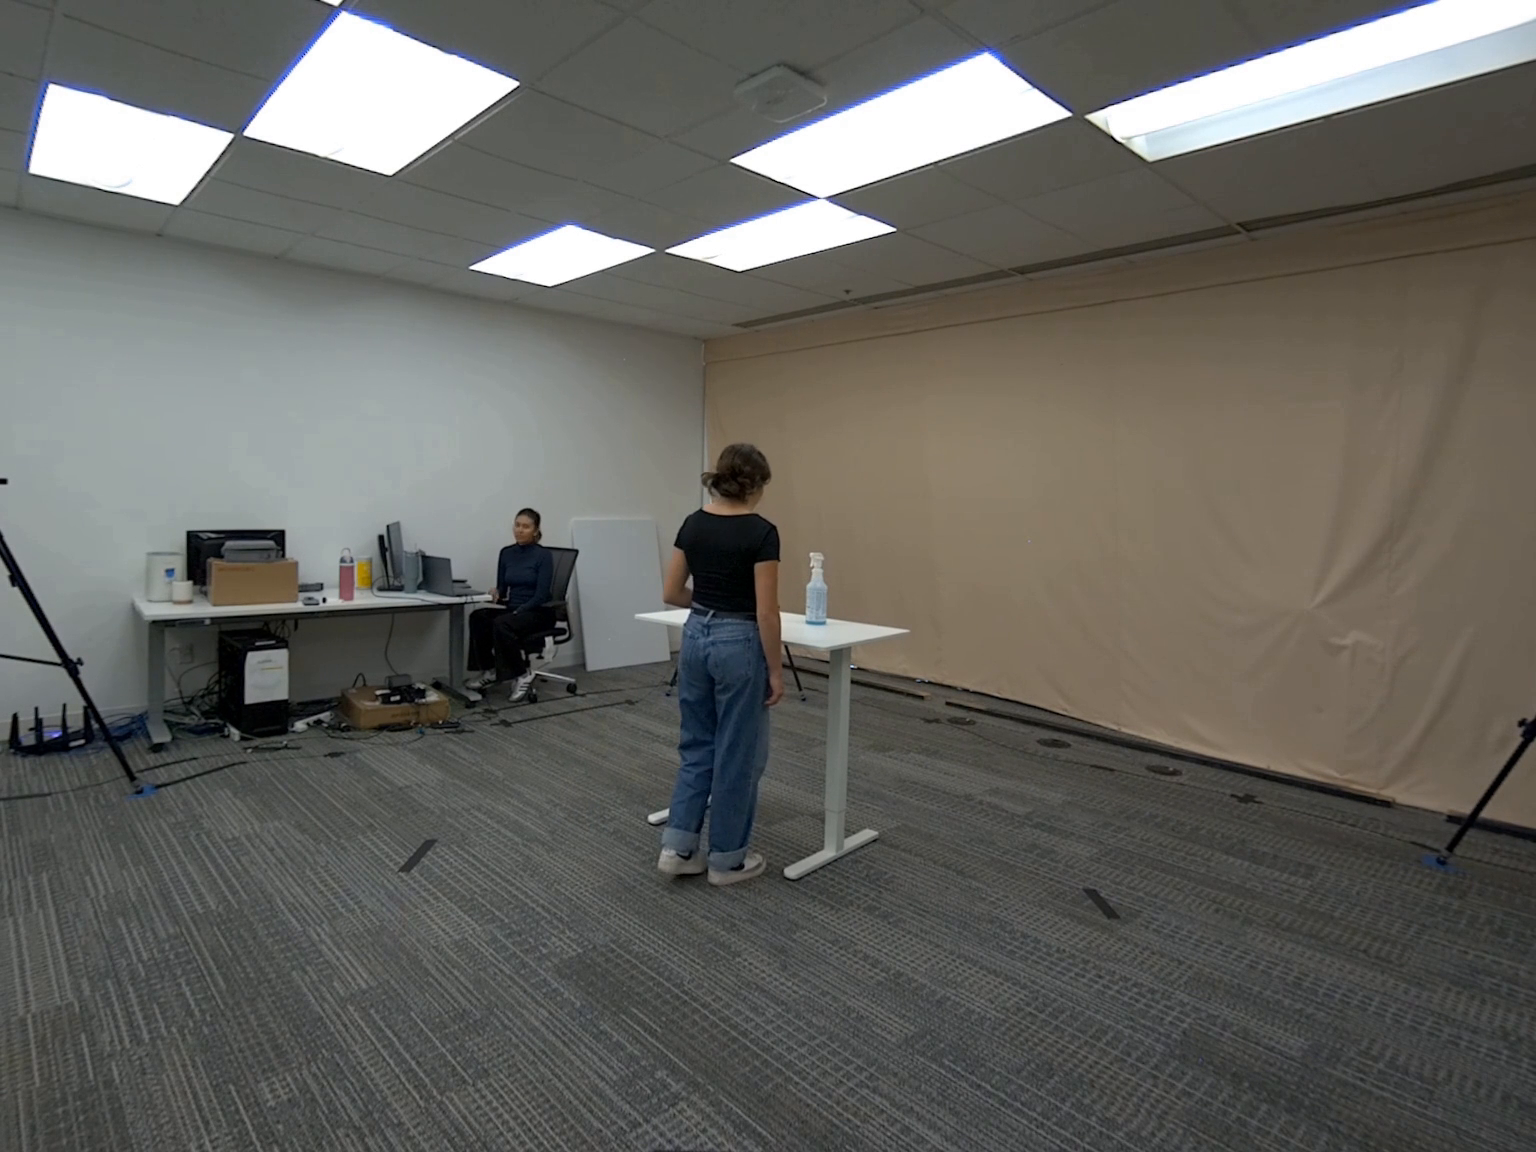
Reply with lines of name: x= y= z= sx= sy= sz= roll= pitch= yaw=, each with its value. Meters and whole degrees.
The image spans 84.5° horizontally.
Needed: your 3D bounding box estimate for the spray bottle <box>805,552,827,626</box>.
spray bottle: x=0.198 y=0.053 z=3.498 sx=0.088 sy=0.296 sz=0.089 roll=-1 pitch=4 yaw=-26
